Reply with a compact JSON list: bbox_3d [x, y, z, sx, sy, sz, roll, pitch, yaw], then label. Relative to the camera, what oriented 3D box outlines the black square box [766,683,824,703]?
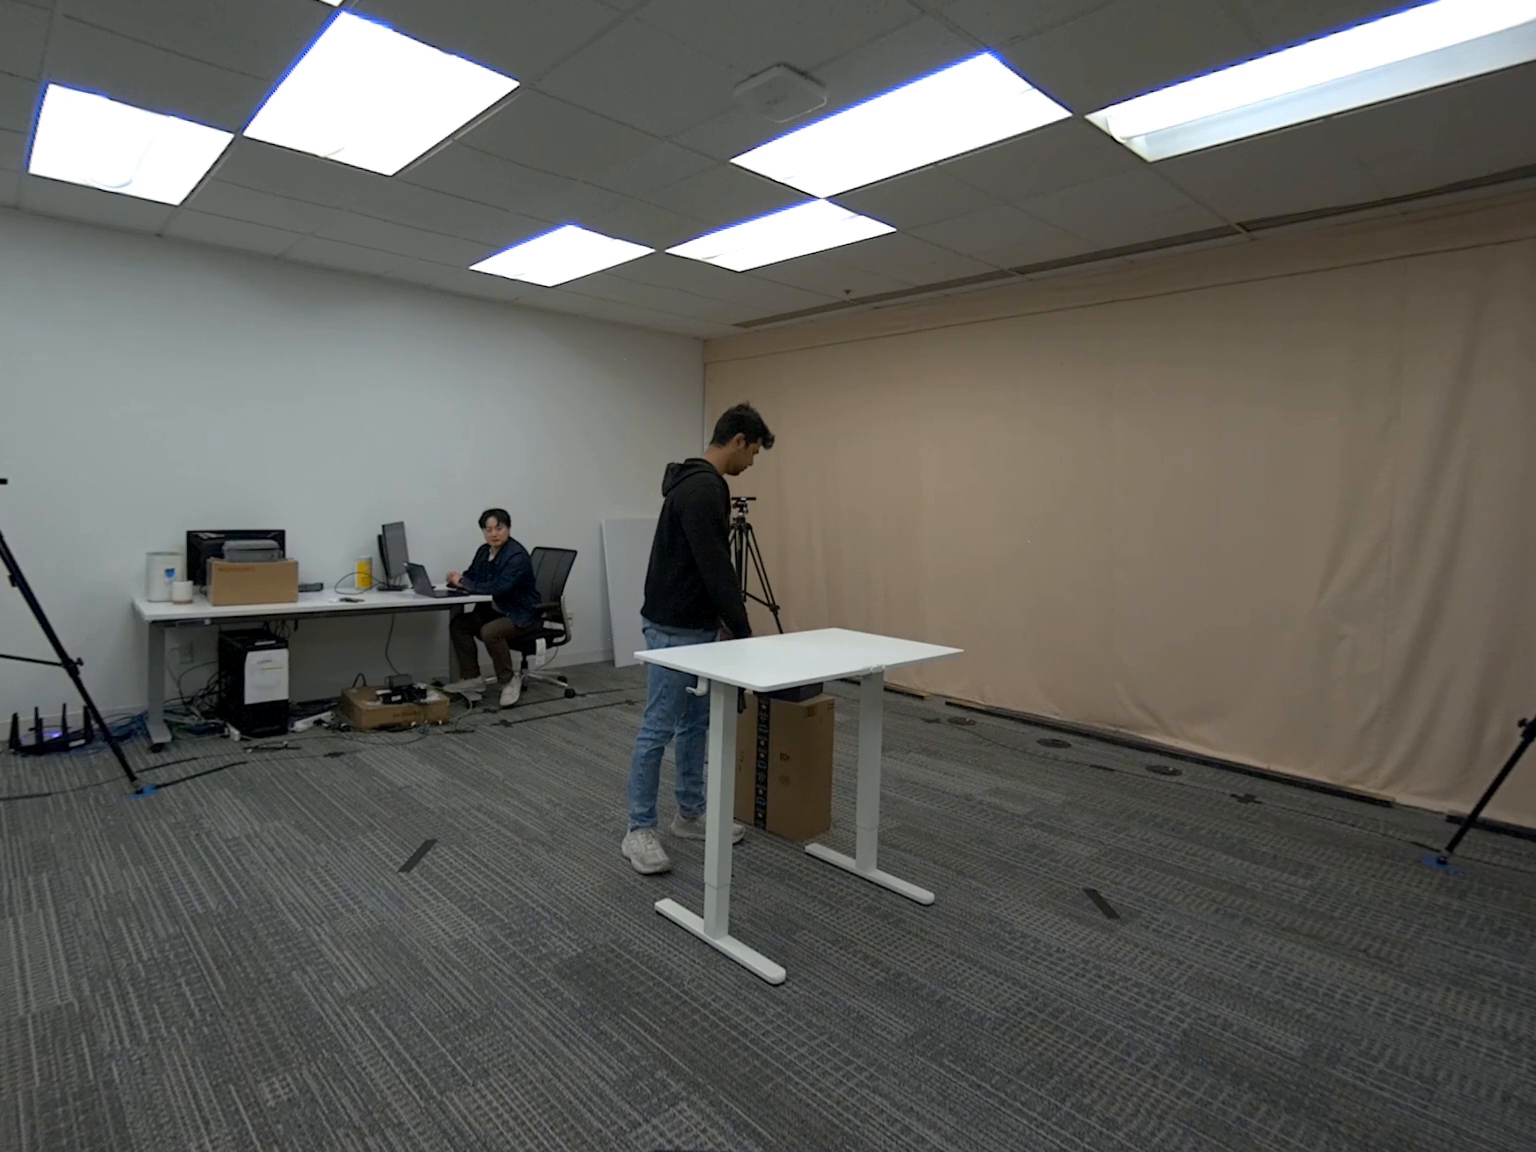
[{"bbox_3d":[0.082,0.424,3.589,0.233,0.155,0.213,4,5,32],"label":"black square box"}]
